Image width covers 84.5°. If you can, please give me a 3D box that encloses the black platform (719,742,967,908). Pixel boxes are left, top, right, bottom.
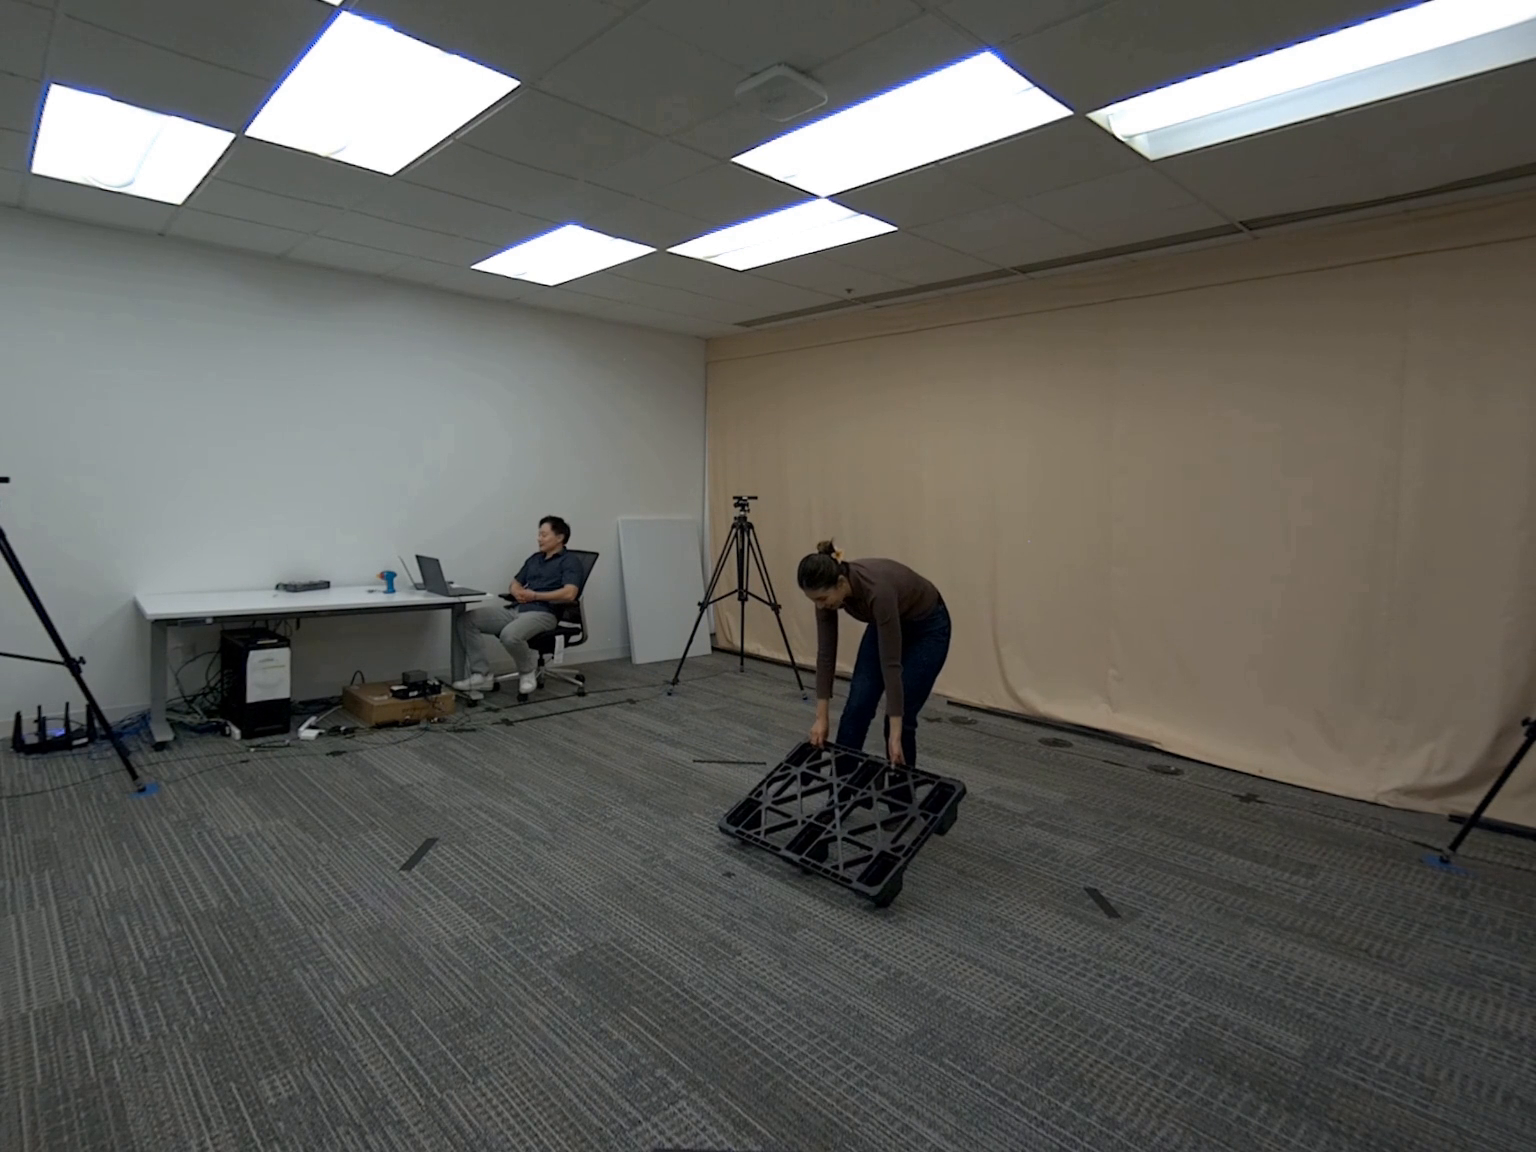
[{"bbox_3d":[0.277,0.940,3.248,0.826,0.140,0.602,5,34,46],"label":"black platform"}]
